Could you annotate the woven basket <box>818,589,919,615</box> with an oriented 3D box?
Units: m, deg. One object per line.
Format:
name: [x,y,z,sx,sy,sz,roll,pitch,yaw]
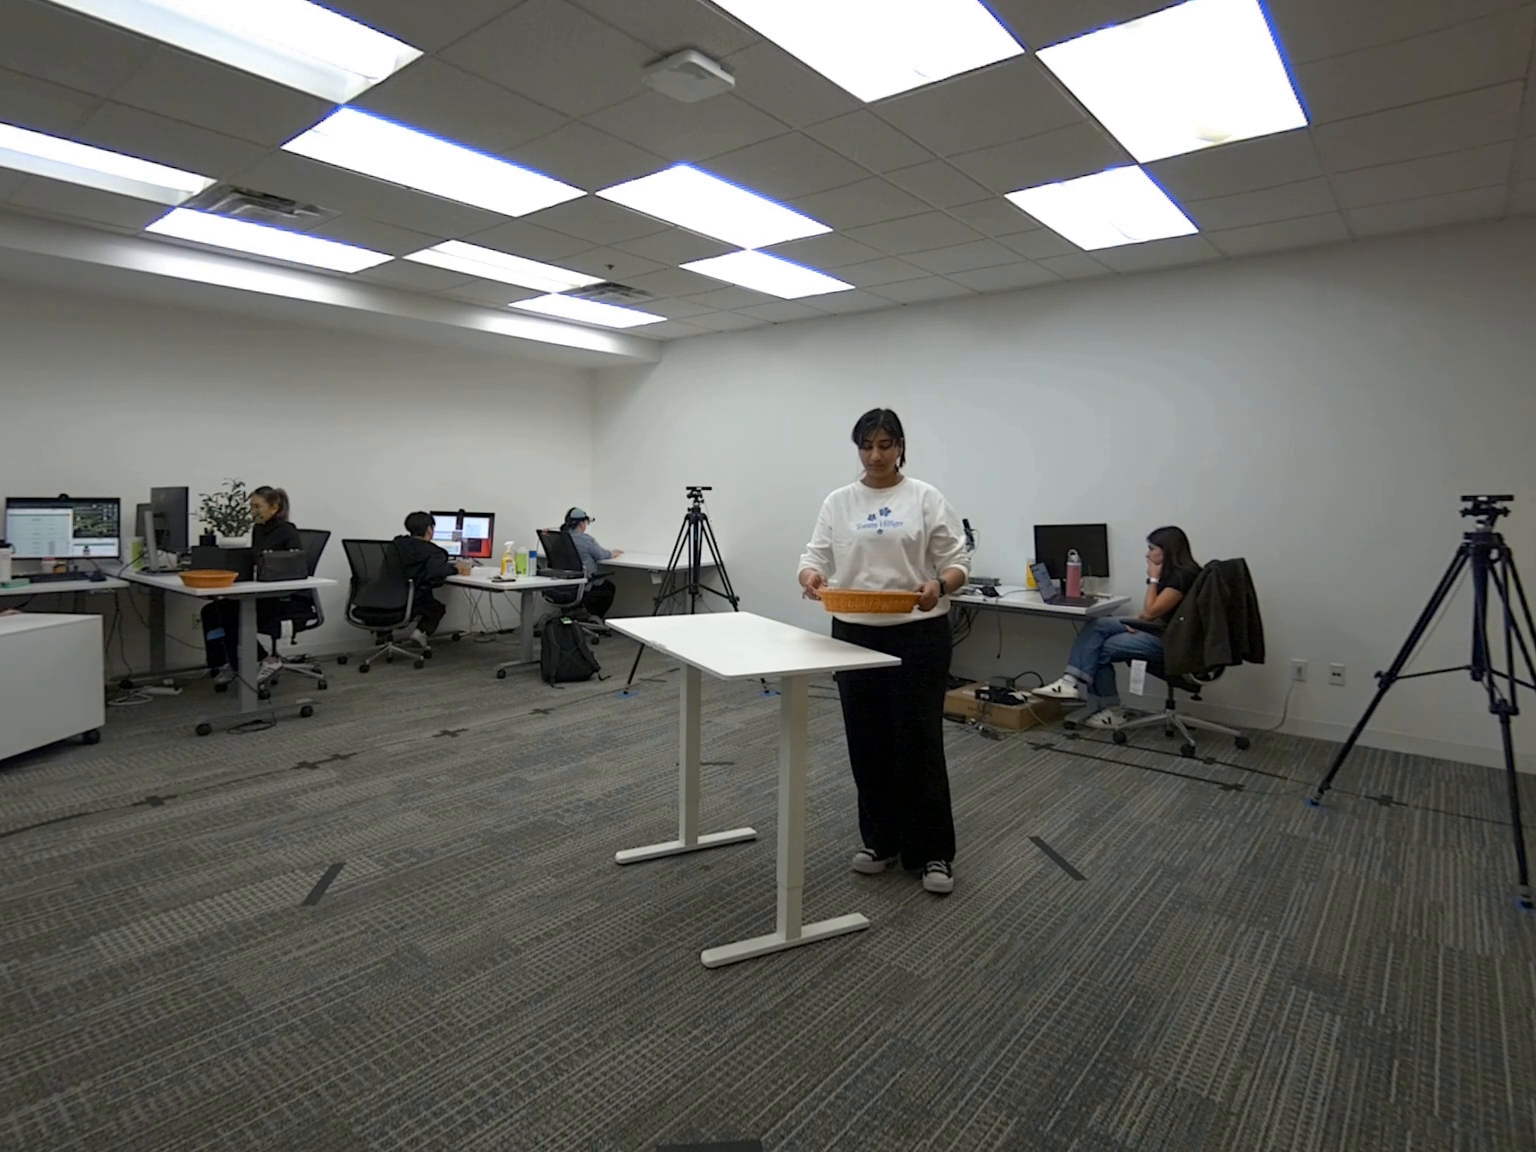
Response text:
woven basket: [0.345,0.090,2.792,0.348,0.073,0.254,2,0,-7]
